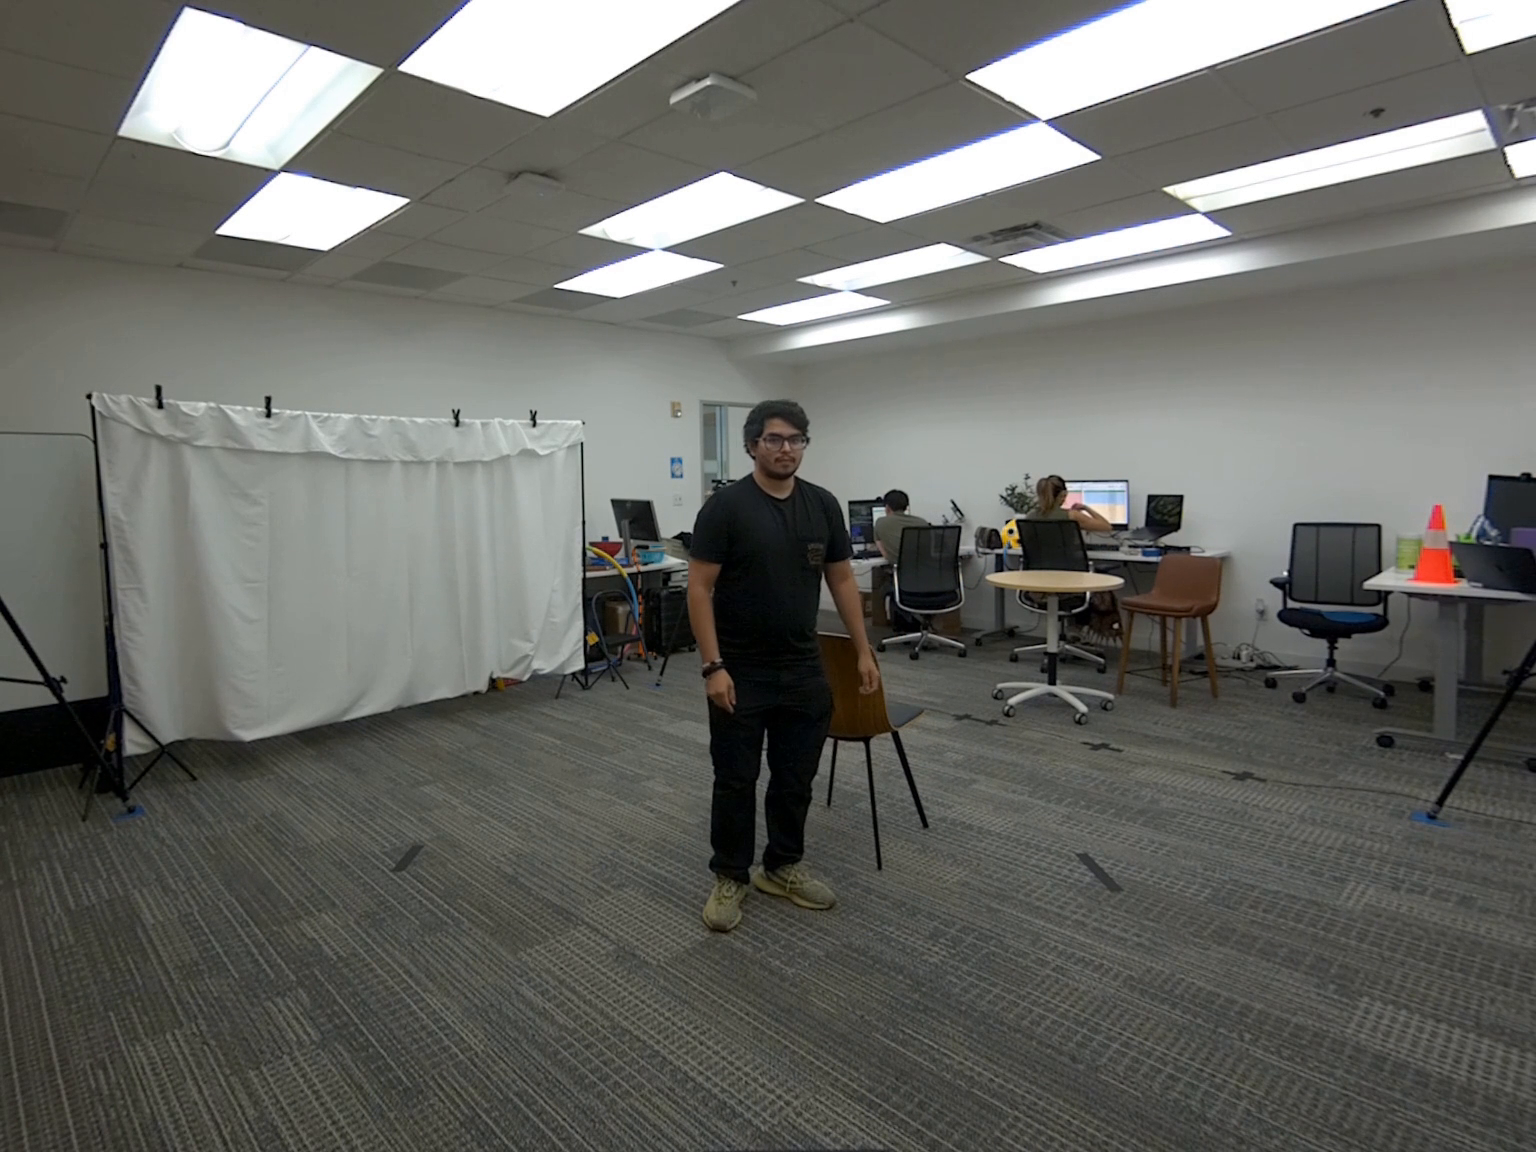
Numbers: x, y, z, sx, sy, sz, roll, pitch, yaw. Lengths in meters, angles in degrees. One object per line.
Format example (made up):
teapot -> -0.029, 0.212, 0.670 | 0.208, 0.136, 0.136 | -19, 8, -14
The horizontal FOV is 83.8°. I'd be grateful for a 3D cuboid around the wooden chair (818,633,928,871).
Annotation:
wooden chair -> 0.326, 0.591, 3.327 | 0.491, 0.871, 0.512 | 1, 9, 33
